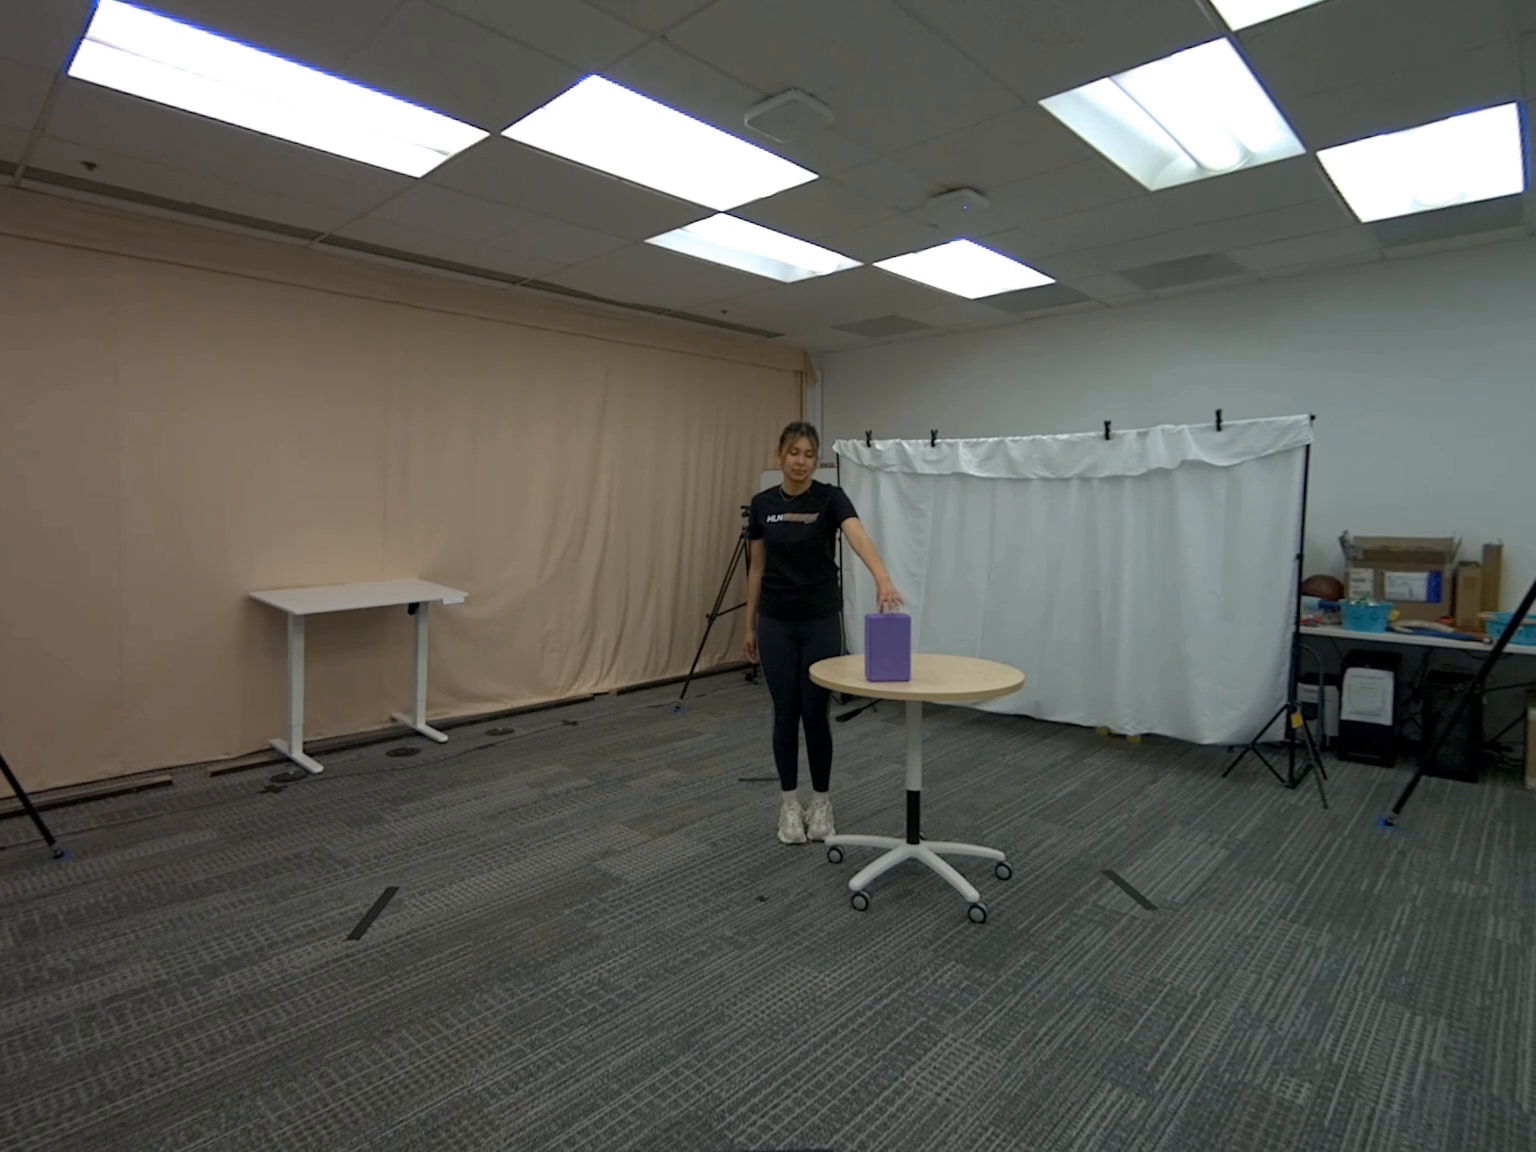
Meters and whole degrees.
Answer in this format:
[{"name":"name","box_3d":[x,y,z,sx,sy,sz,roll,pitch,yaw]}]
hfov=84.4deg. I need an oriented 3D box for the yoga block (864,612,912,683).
[{"name":"yoga block","box_3d":[0.417,0.248,2.930,0.149,0.229,0.076,-7,2,2]}]
